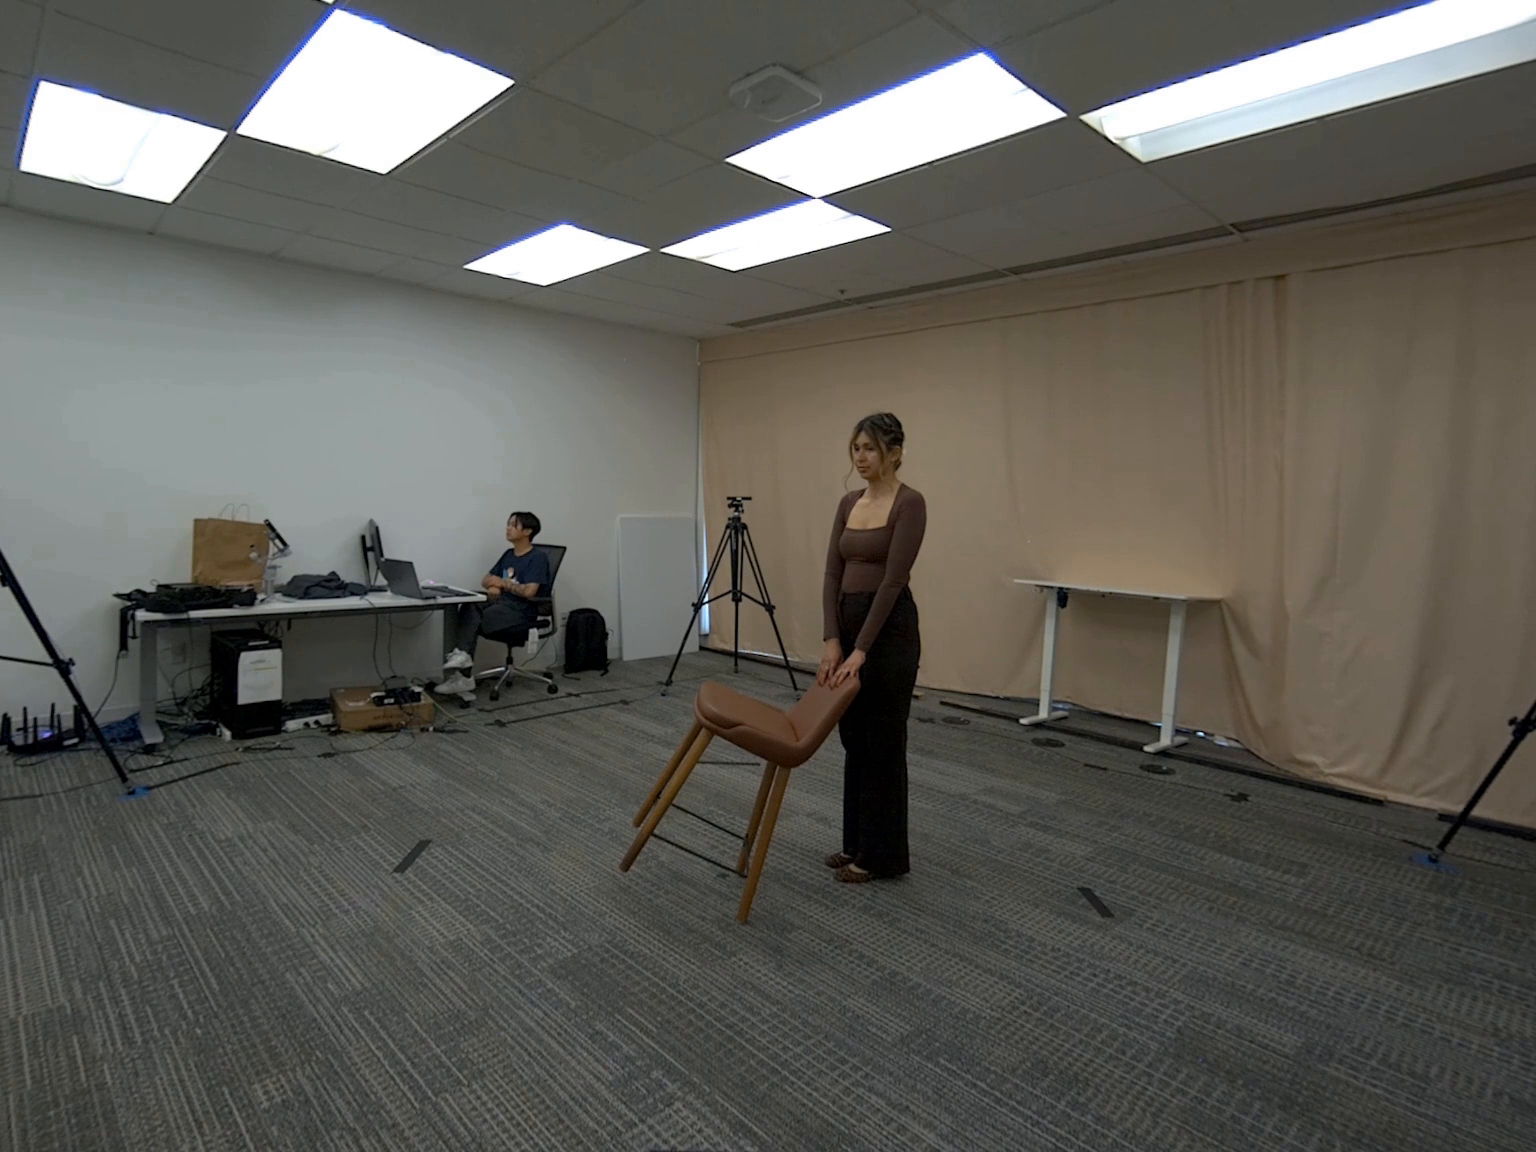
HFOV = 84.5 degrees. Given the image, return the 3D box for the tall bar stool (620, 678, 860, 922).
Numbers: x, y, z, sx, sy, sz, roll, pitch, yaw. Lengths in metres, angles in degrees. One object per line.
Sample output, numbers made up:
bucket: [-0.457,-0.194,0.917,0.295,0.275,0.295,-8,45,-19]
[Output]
tall bar stool: [-0.099,0.643,2.903,0.467,0.889,0.458,27,3,-3]
